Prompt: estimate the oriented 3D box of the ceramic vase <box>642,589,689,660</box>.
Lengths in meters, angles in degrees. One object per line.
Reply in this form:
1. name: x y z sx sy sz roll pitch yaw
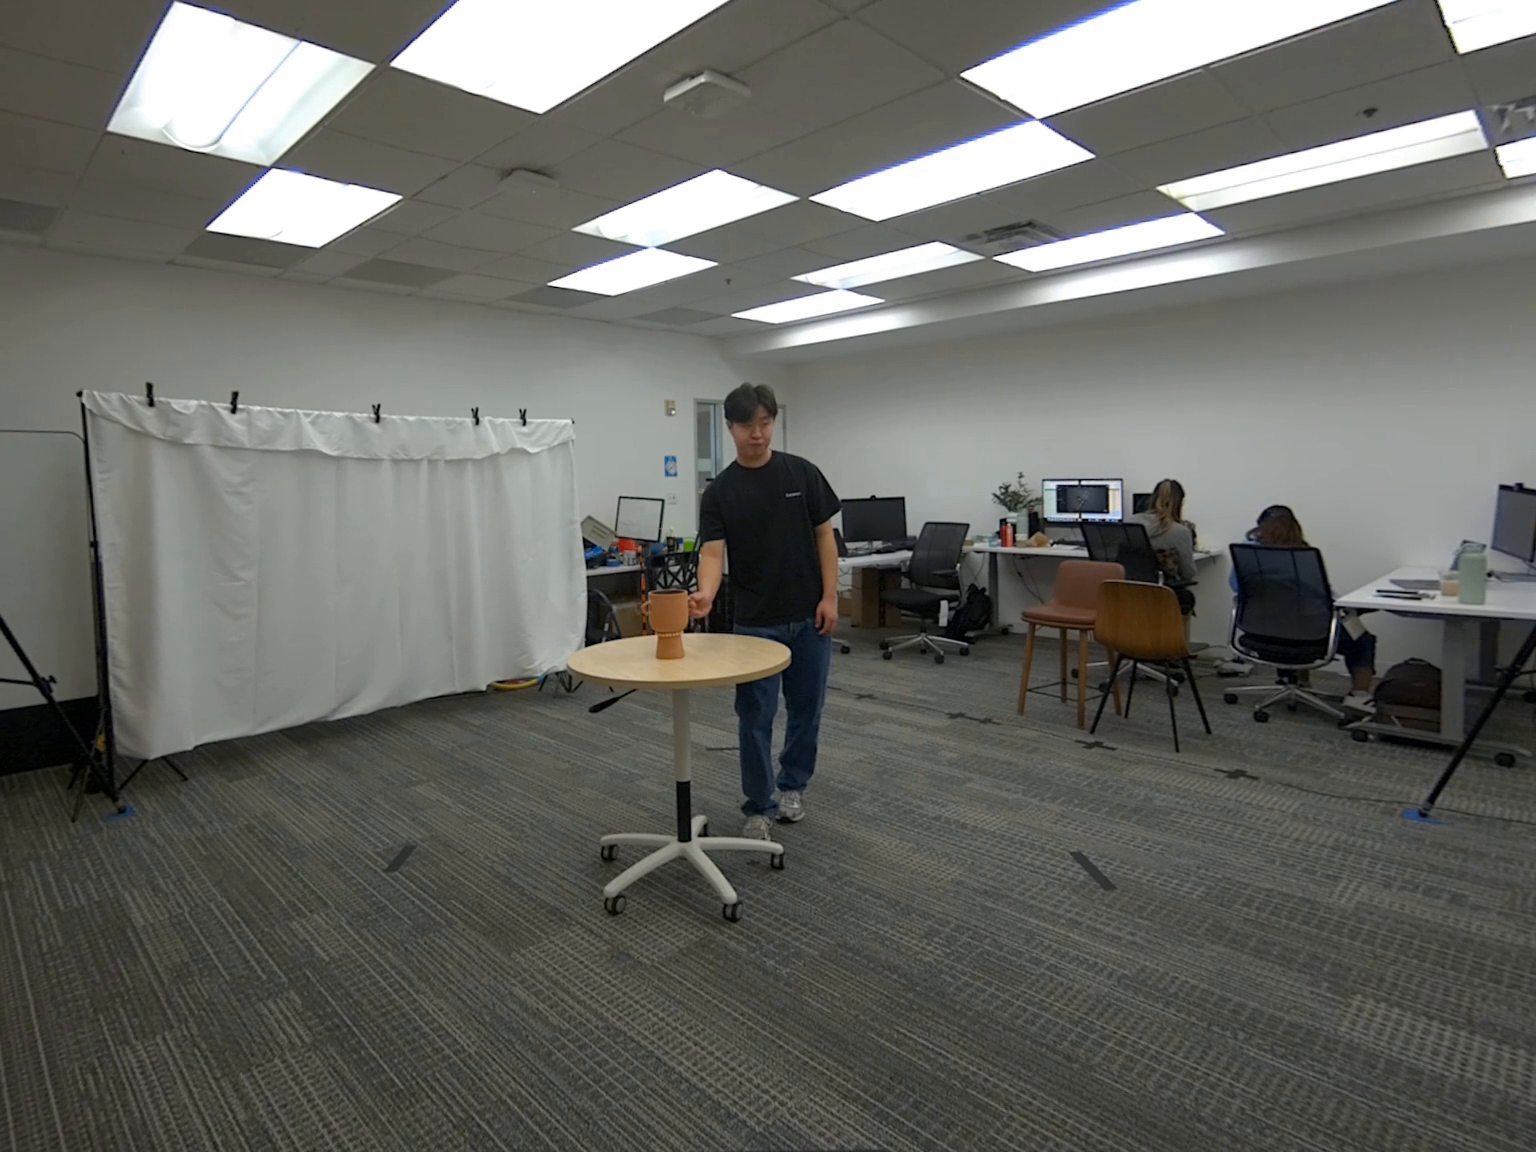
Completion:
1. ceramic vase: -0.333 0.167 2.900 0.161 0.219 0.133 0 4 11
